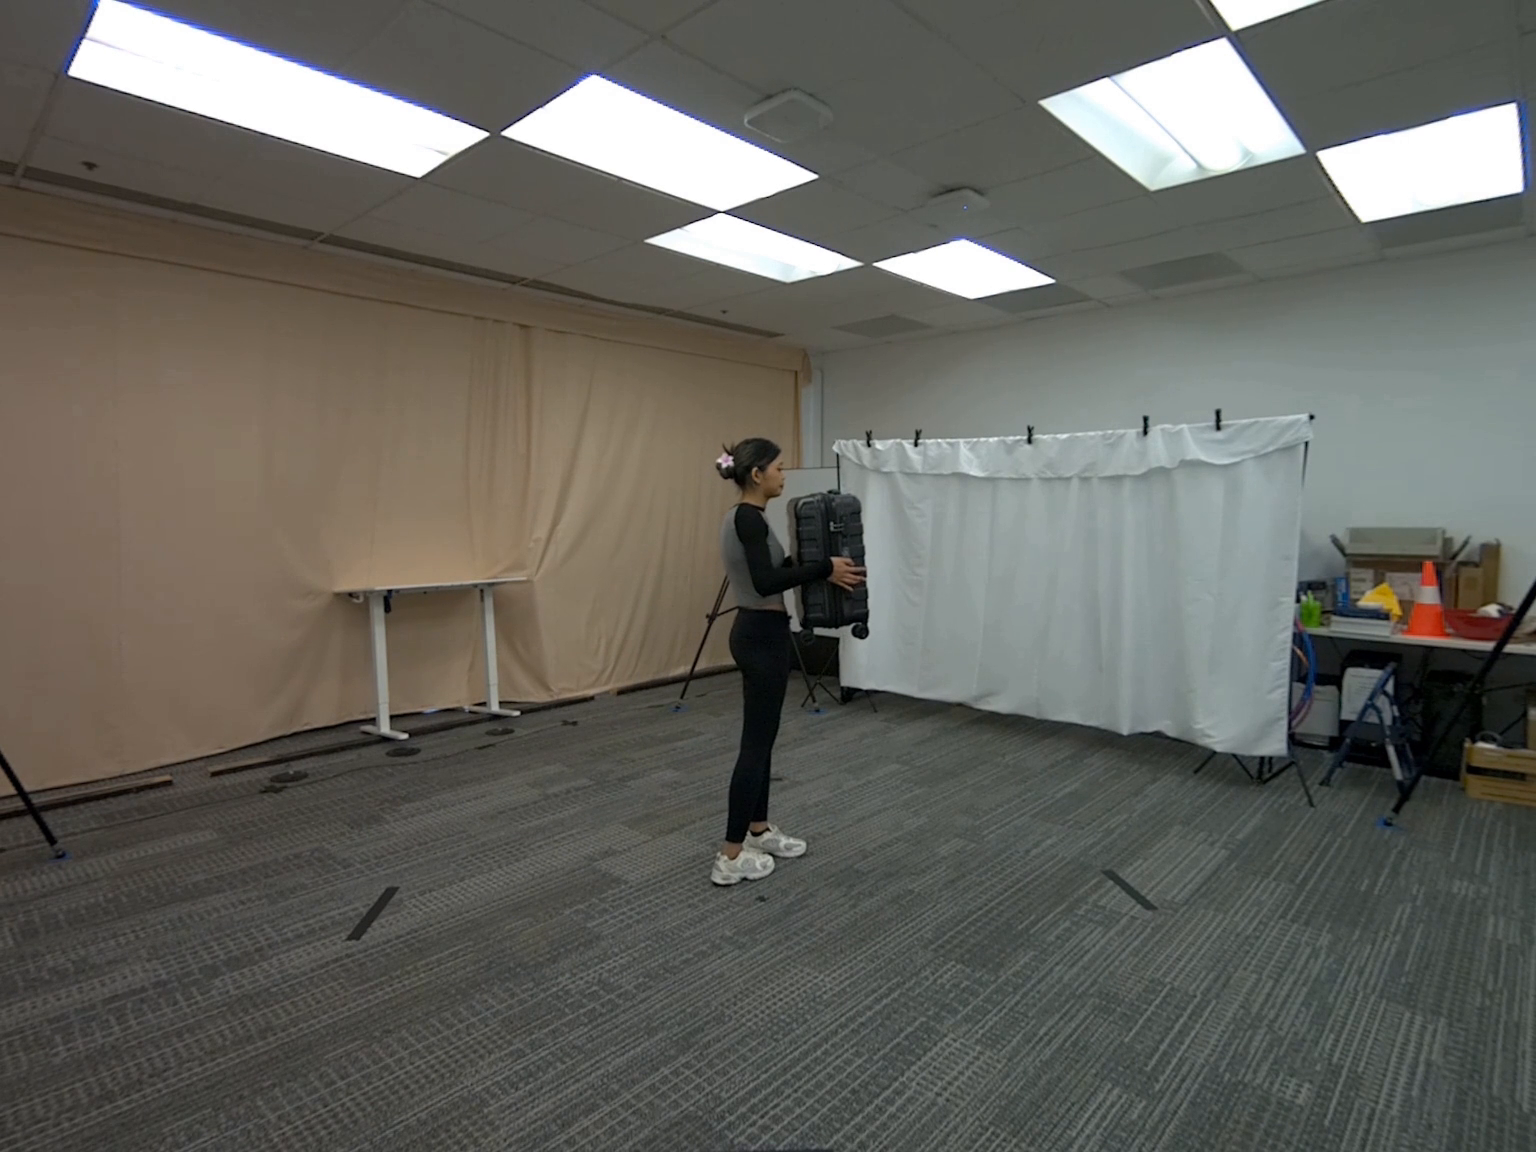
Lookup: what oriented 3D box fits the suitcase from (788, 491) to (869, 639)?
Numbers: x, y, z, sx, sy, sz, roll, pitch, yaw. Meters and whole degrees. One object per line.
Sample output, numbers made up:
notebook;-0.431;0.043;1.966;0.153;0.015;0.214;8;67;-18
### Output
suitcase;0.231;-0.053;3.240;0.248;0.547;0.377;-4;6;-2
